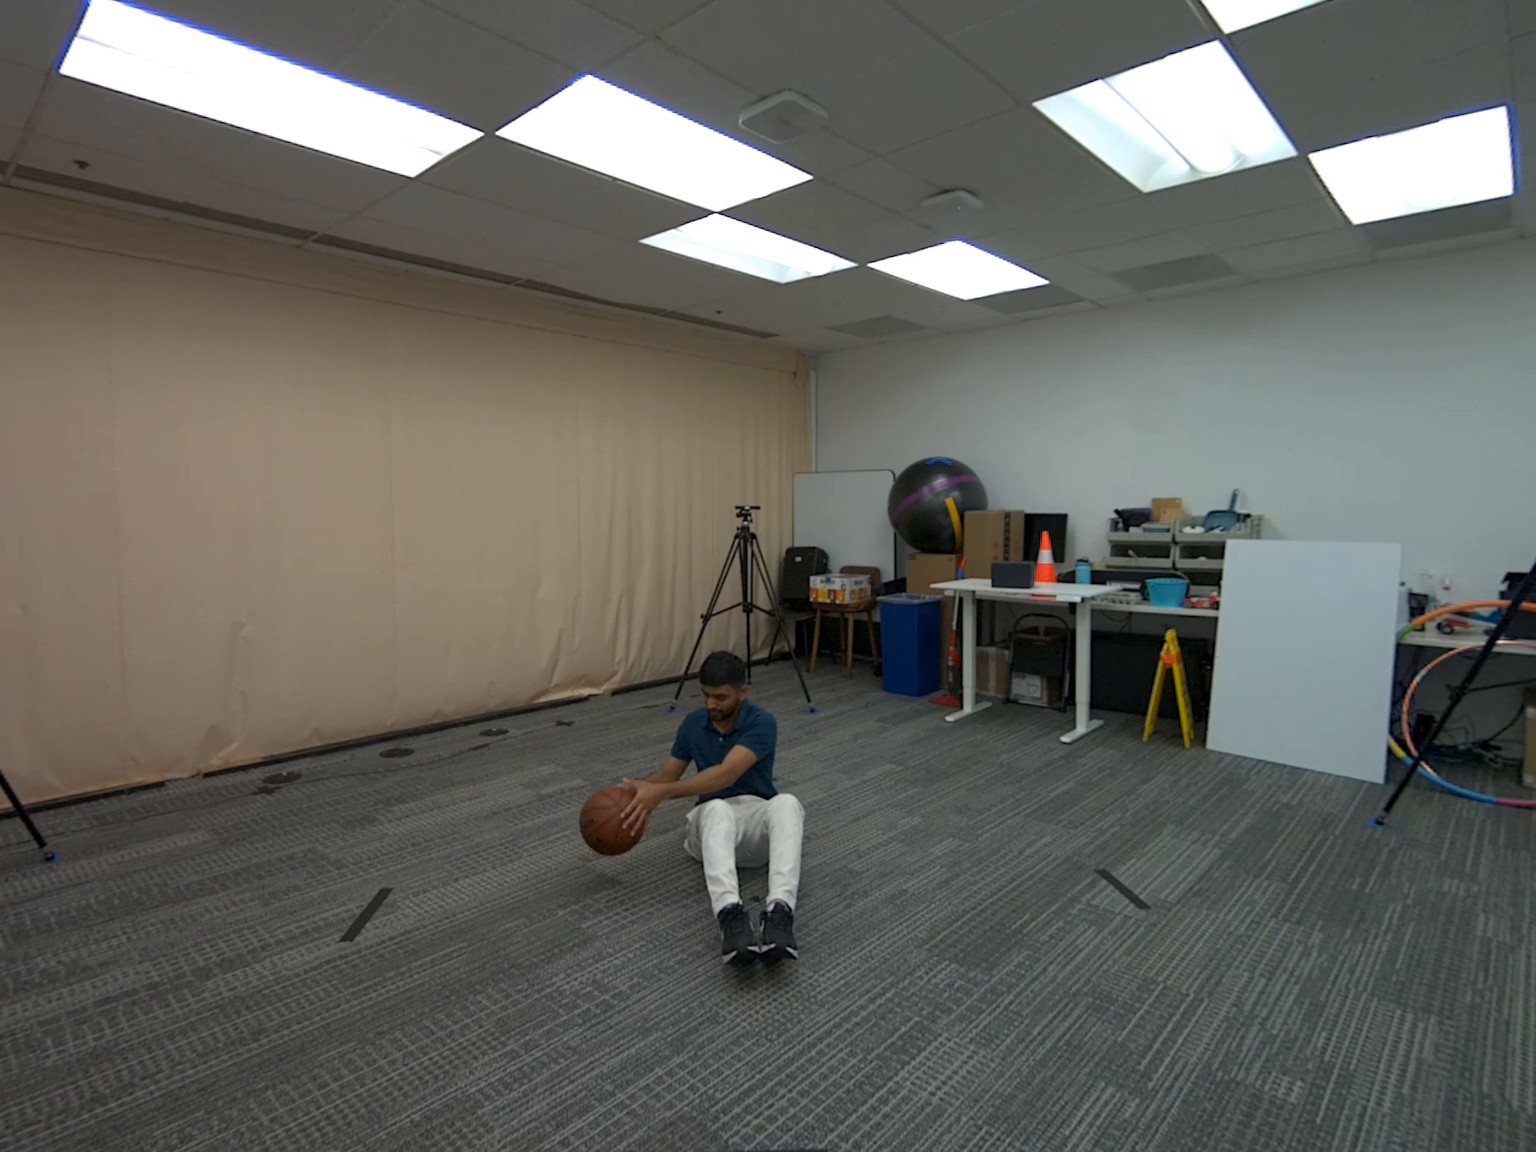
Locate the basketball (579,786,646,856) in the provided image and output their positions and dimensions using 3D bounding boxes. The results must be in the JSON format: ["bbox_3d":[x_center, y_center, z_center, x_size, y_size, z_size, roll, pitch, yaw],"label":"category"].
[{"bbox_3d":[-0.555,0.874,3.041,0.236,0.235,0.237,0,4,-2],"label":"basketball"}]
